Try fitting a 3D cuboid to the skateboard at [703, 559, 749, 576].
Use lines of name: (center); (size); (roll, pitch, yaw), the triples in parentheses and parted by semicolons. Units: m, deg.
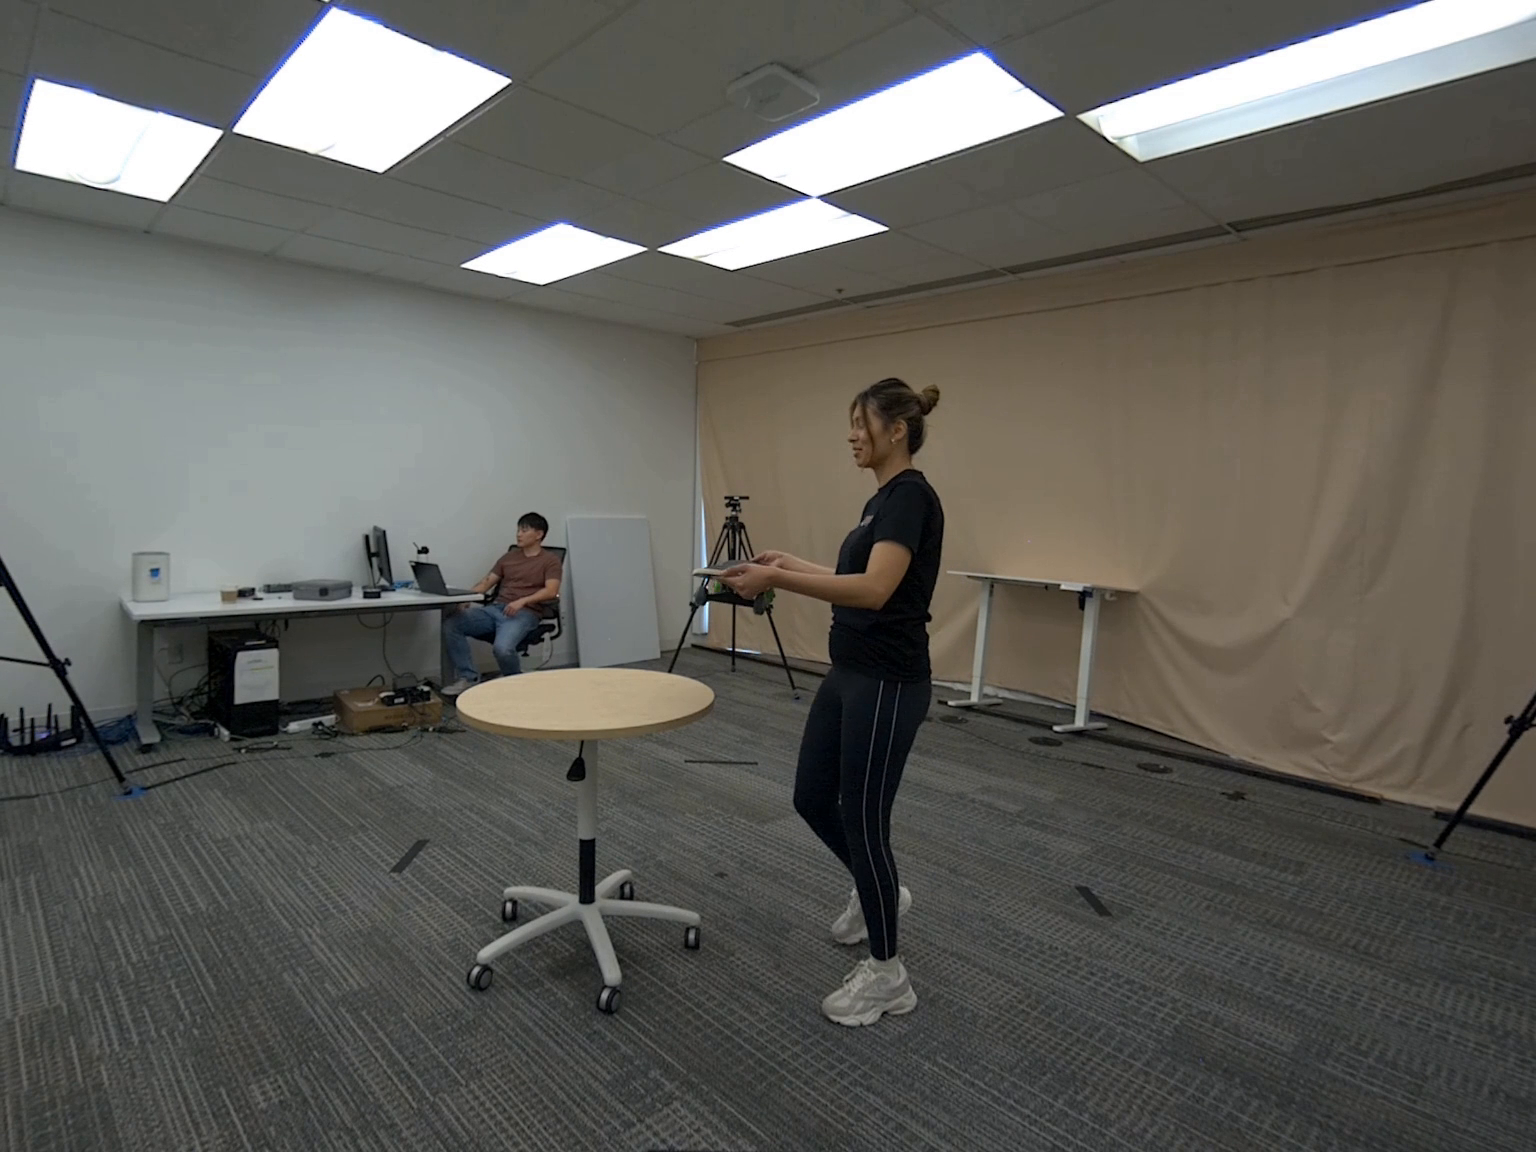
skateboard: (-0.073, 0.031, 2.366); (0.194, 0.110, 0.784); (4, 2, 2)
